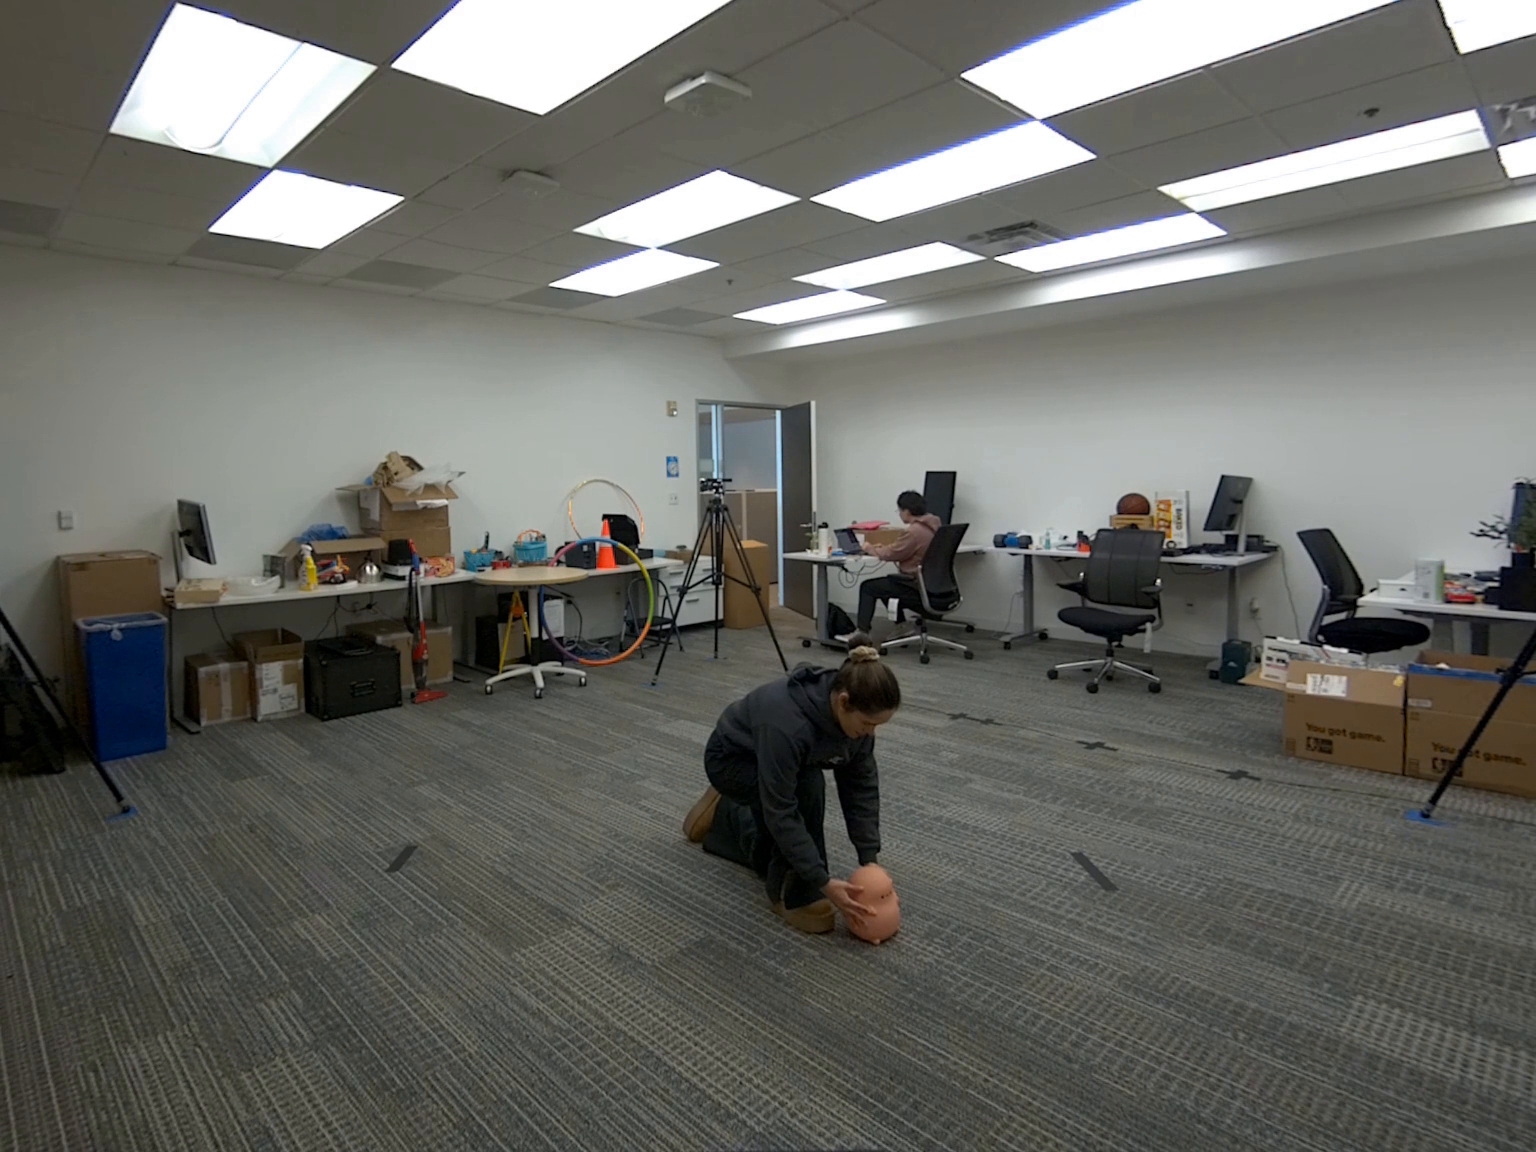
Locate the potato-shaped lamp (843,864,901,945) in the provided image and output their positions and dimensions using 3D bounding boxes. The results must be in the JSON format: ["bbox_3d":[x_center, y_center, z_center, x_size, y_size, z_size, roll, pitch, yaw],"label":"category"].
[{"bbox_3d":[0.317,0.995,2.601,0.160,0.197,0.177,-5,11,-39],"label":"potato-shaped lamp"}]
